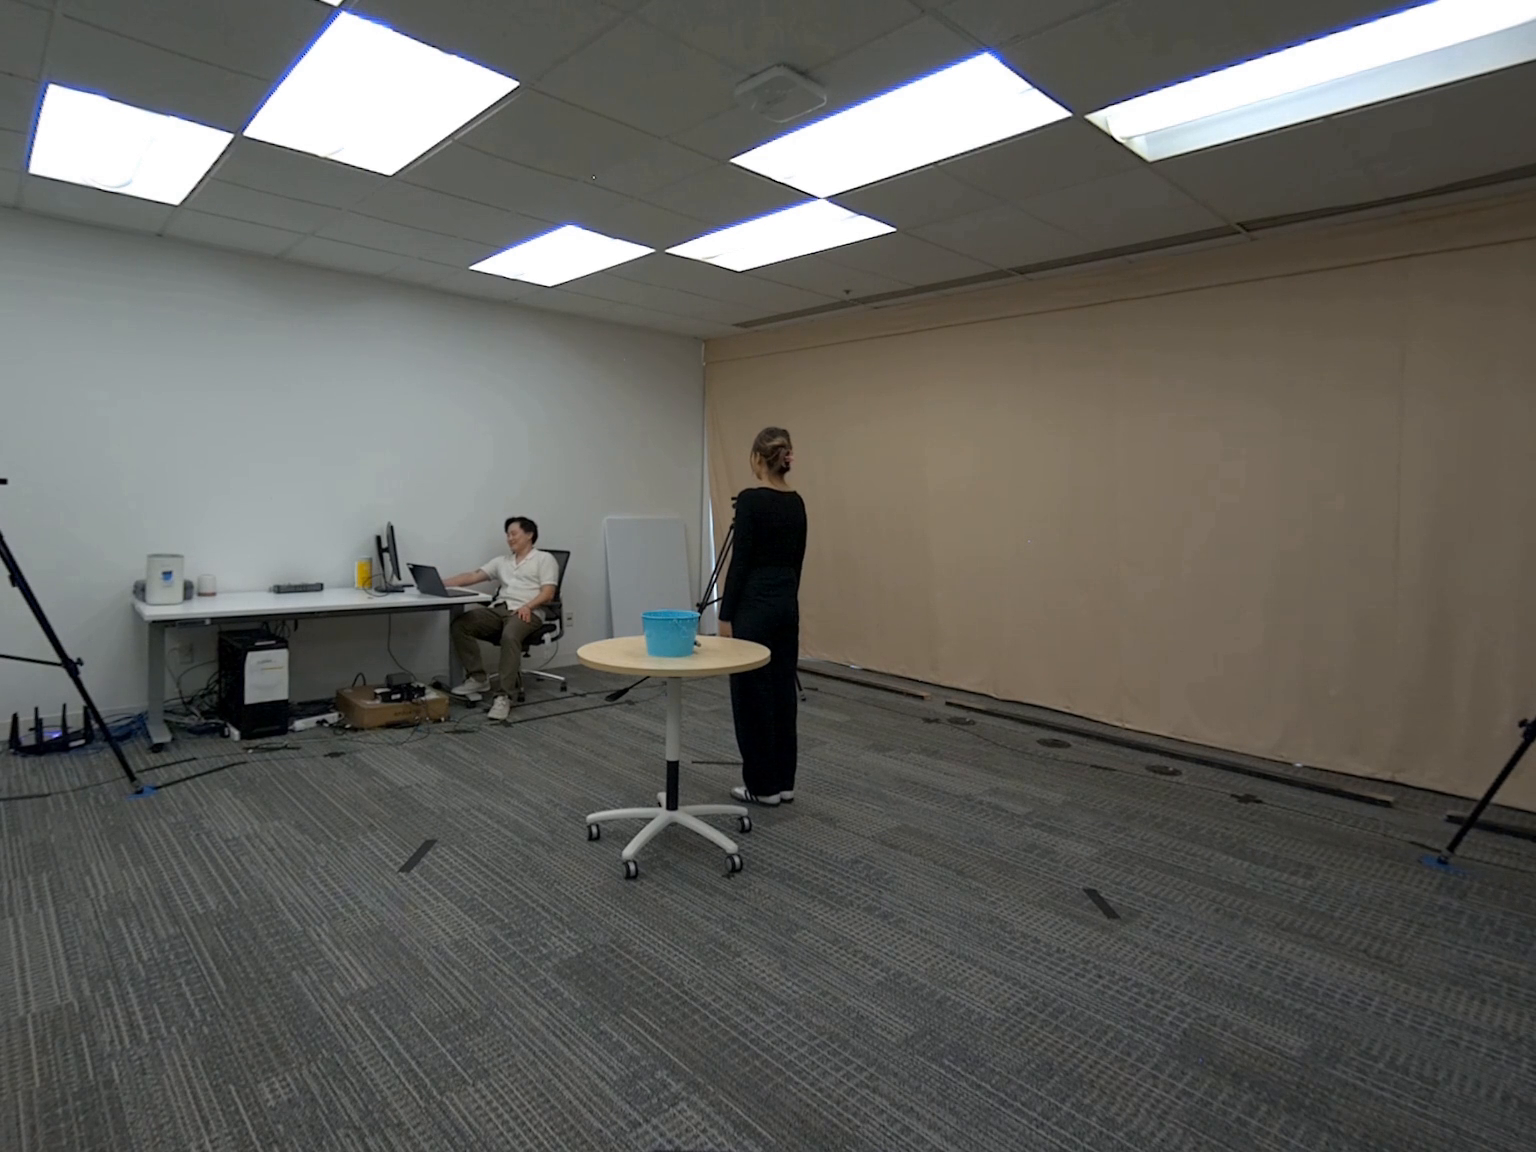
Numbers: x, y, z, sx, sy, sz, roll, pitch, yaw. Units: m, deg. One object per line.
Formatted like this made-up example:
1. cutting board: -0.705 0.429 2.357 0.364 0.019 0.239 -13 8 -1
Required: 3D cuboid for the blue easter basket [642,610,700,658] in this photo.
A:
1. blue easter basket: -0.388 0.231 3.287 0.243 0.155 0.244 0 4 -1
